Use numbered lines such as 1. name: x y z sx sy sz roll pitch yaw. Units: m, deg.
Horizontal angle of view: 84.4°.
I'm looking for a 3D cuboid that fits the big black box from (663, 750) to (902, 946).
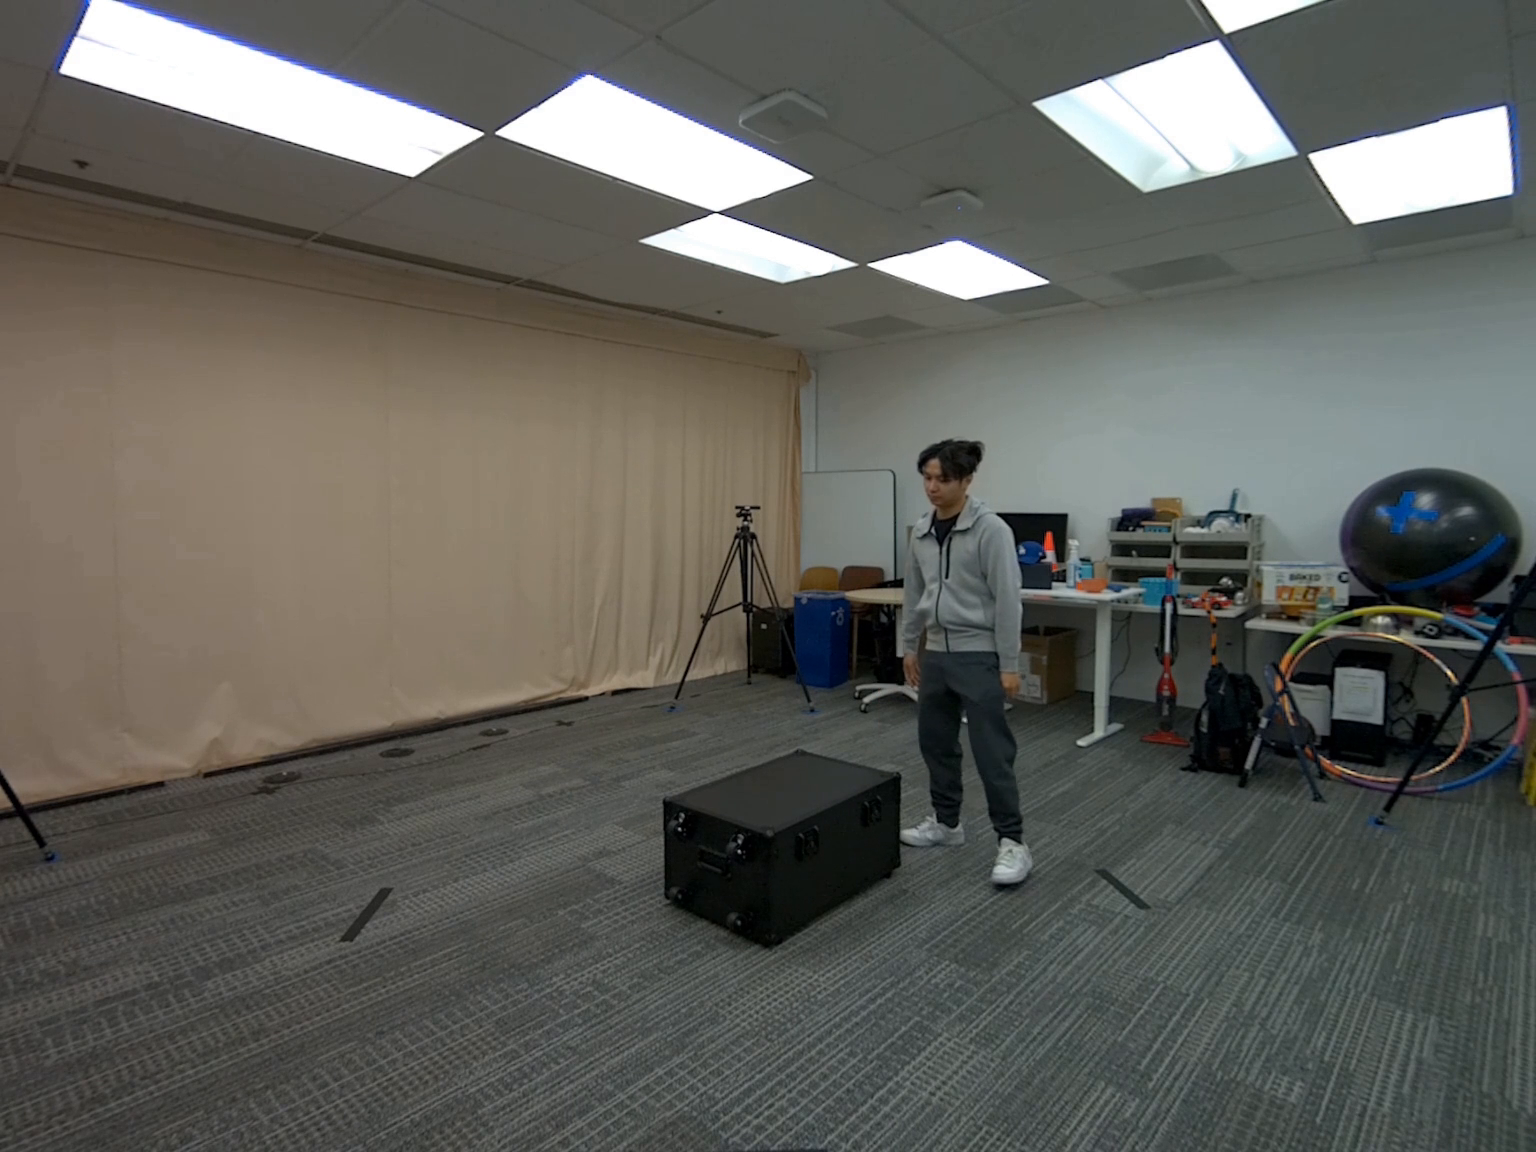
1. big black box: 0.049 0.949 3.038 0.538 0.395 0.835 3 5 40
